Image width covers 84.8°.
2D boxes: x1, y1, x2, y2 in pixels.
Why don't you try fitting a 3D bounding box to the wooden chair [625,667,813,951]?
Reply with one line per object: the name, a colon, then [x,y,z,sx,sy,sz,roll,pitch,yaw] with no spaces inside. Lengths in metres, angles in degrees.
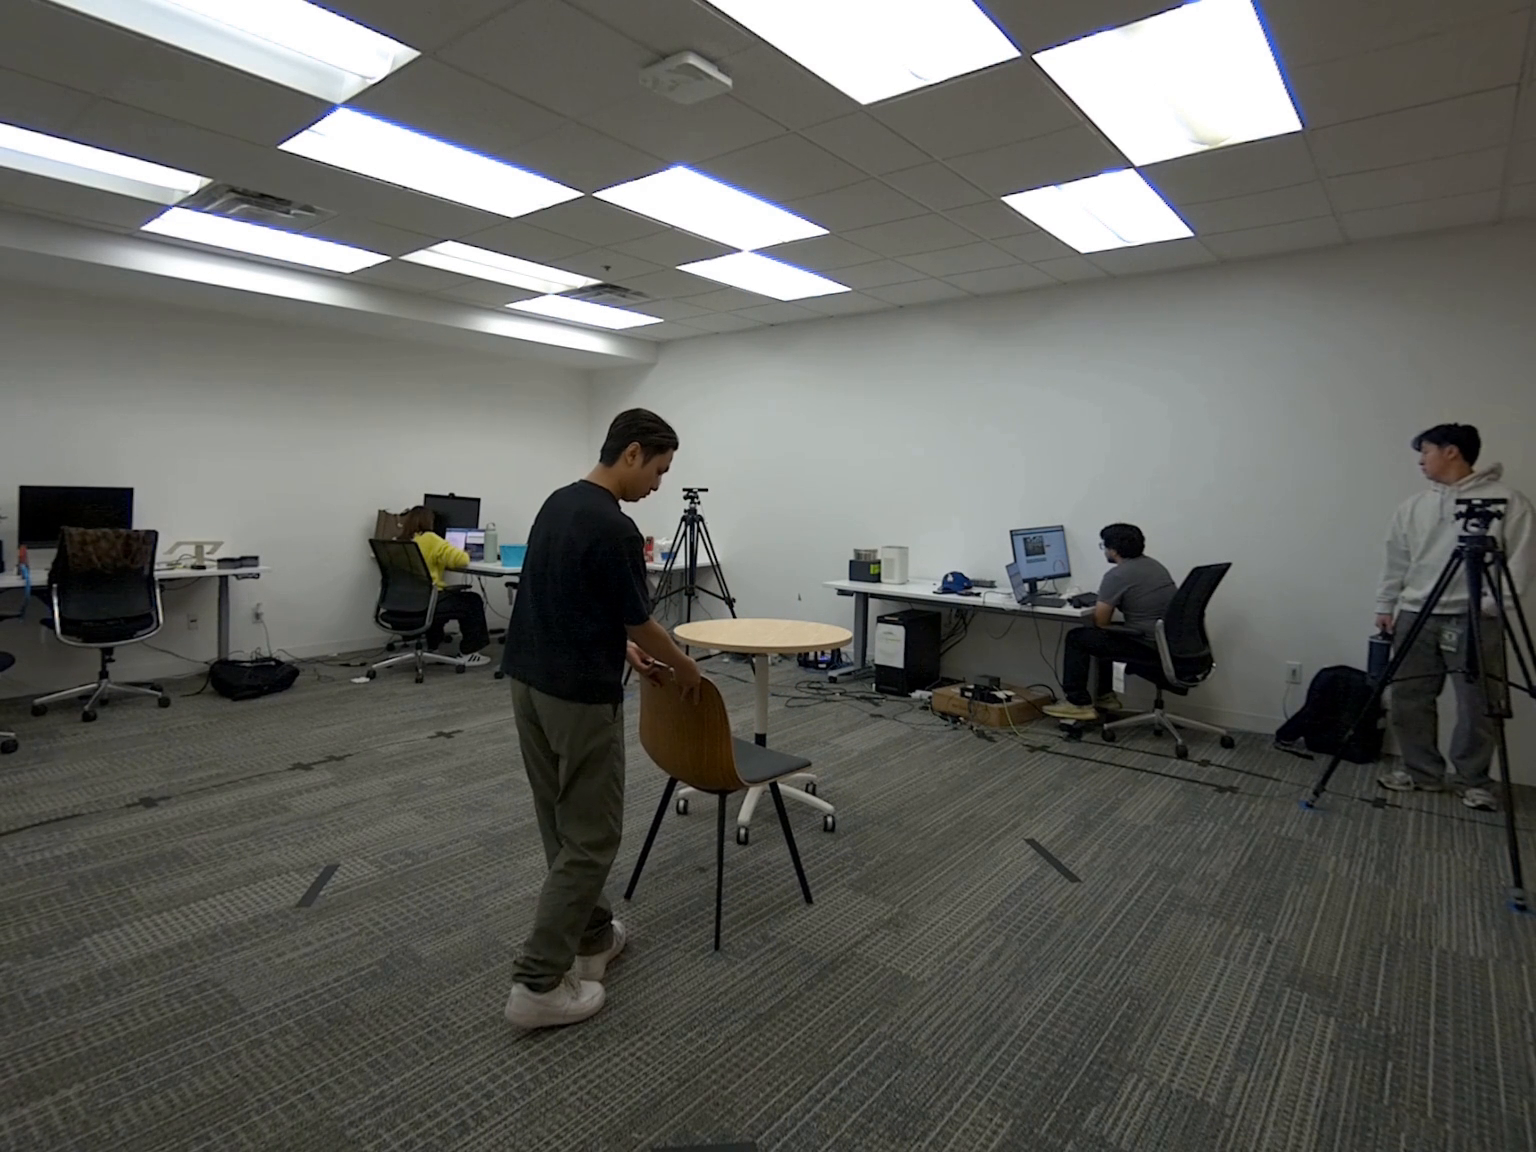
wooden chair: [-0.158,0.669,2.847,0.494,0.872,0.509,4,8,44]
